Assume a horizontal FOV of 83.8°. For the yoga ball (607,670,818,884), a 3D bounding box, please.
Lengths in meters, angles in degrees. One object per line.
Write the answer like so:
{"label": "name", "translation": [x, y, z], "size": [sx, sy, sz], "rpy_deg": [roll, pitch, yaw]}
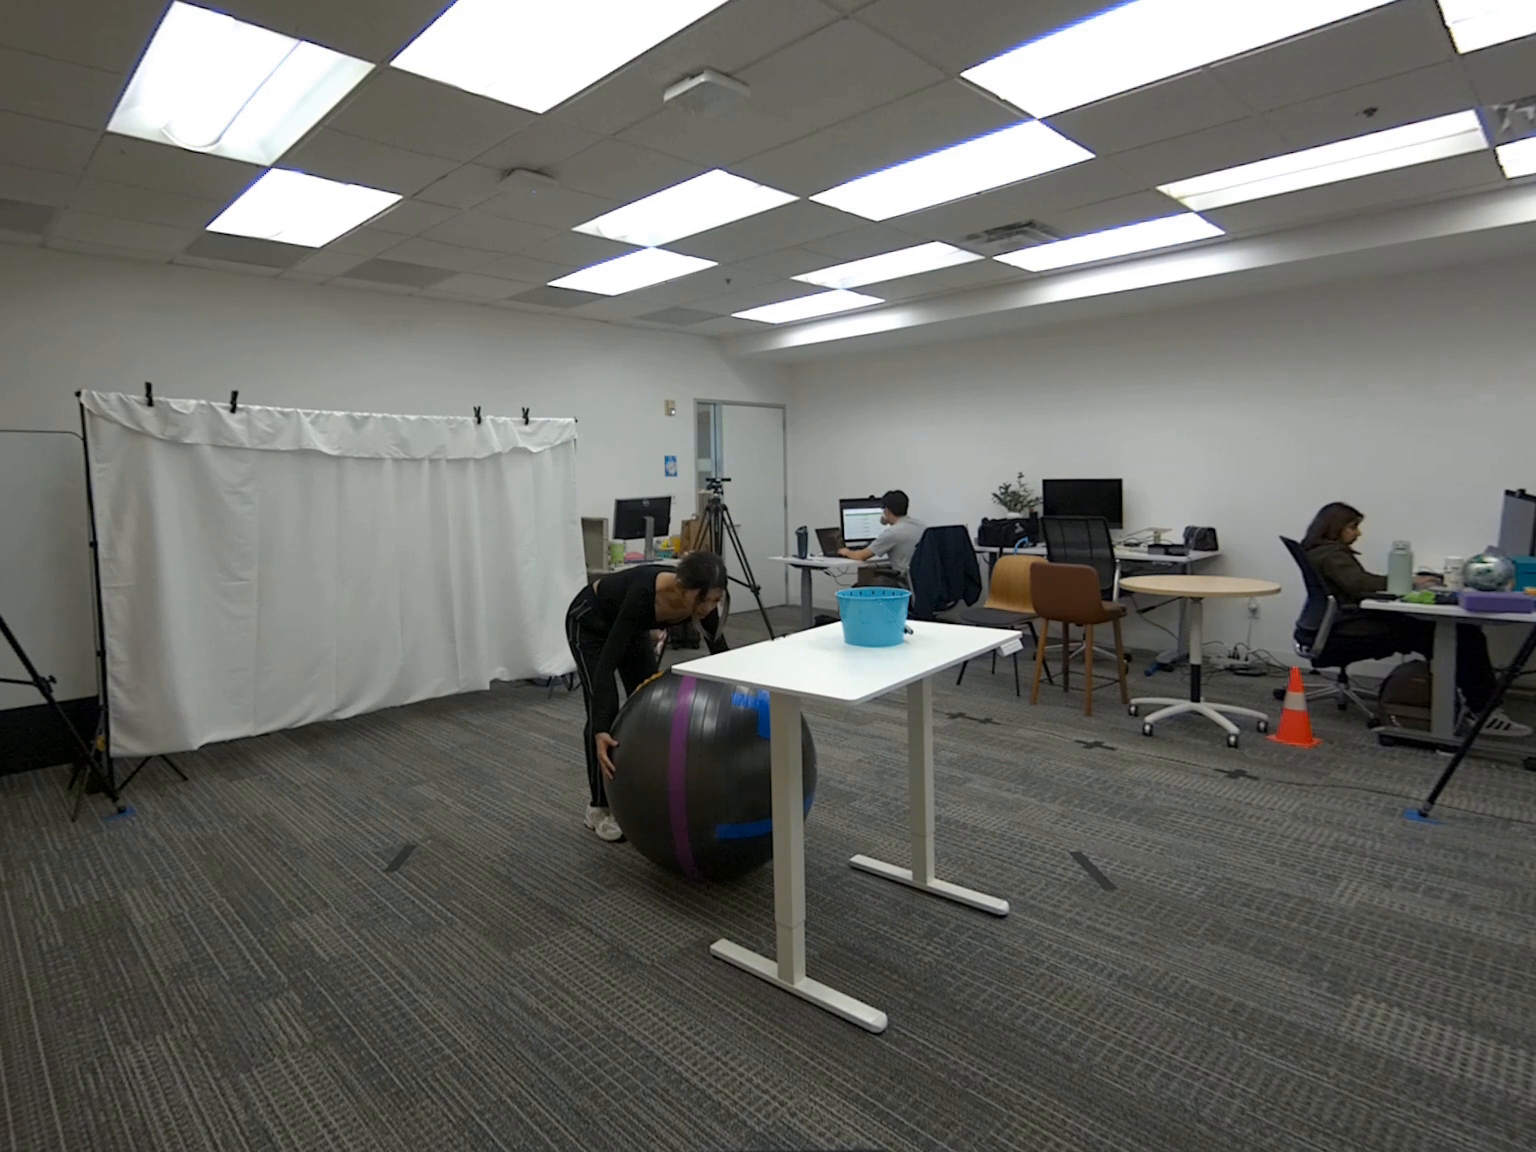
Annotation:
{"label": "yoga ball", "translation": [-0.206, 0.687, 3.043], "size": [0.757, 0.755, 0.762], "rpy_deg": [-1, 5, -2]}
